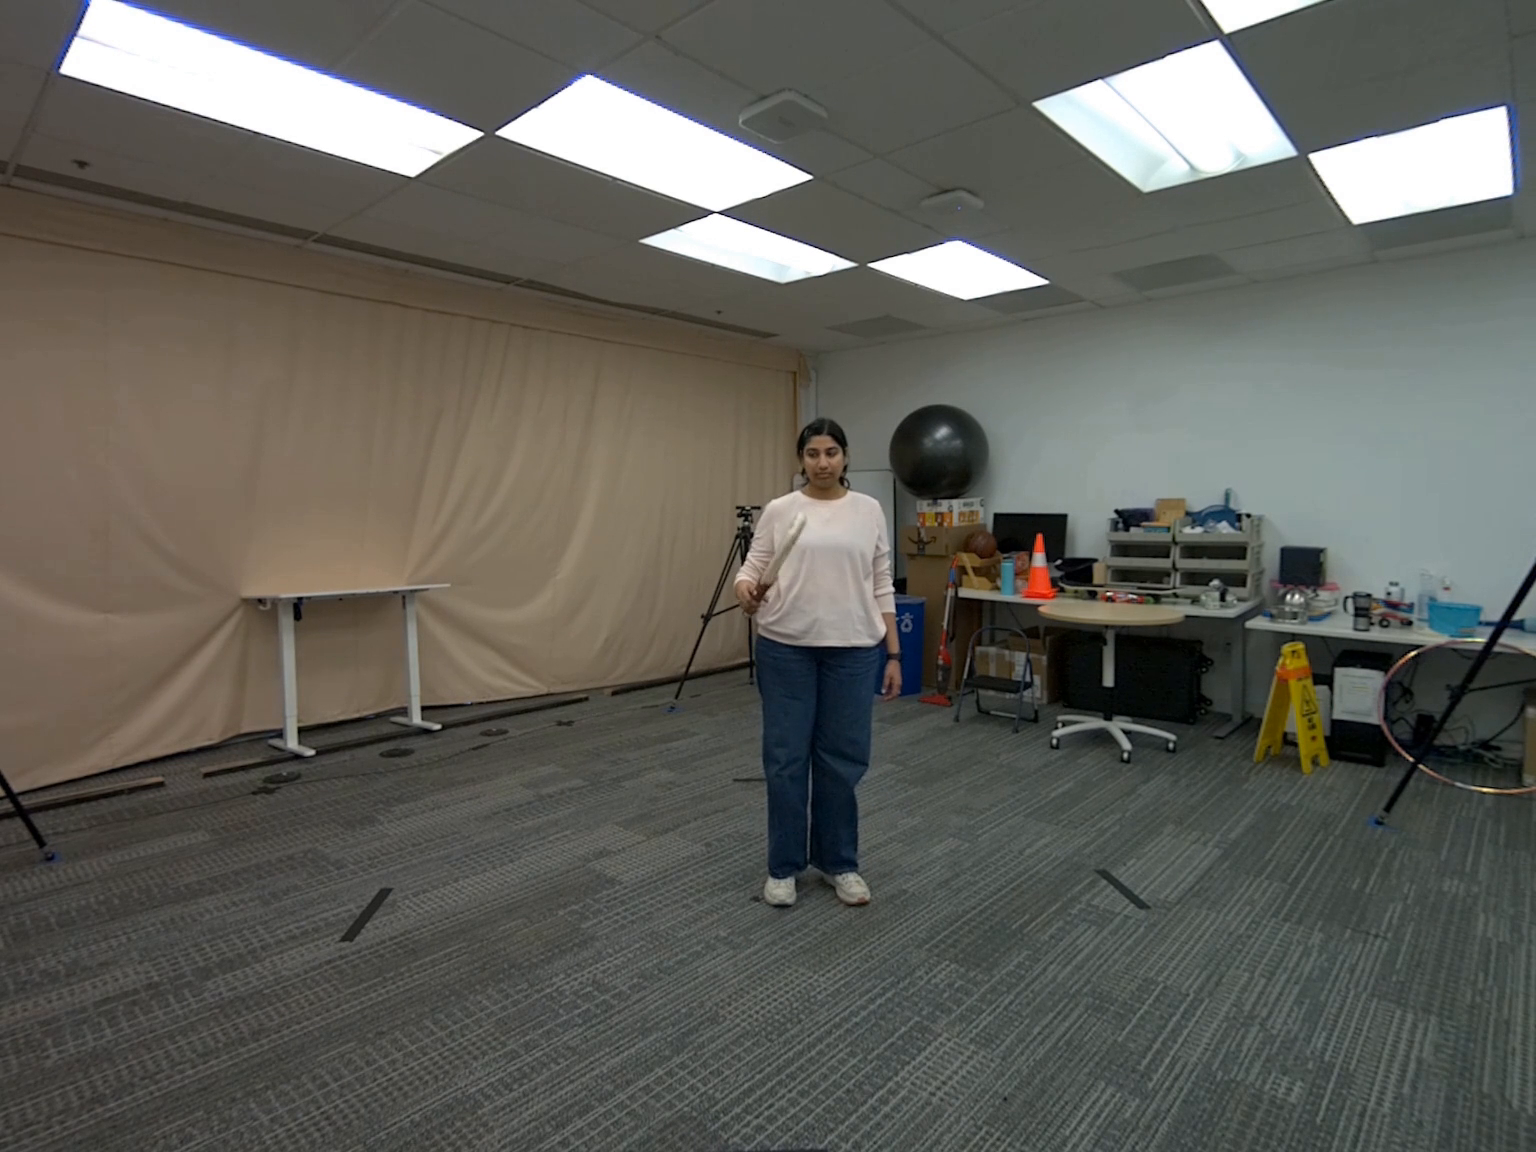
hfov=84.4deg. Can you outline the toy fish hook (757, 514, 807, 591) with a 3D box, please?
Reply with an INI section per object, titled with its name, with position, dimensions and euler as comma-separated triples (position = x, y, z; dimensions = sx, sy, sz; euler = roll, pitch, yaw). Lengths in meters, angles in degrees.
[toy fish hook]
position = -0.008, -0.007, 2.562
dimensions = 0.049, 0.503, 0.224
euler = 29, 46, 6
